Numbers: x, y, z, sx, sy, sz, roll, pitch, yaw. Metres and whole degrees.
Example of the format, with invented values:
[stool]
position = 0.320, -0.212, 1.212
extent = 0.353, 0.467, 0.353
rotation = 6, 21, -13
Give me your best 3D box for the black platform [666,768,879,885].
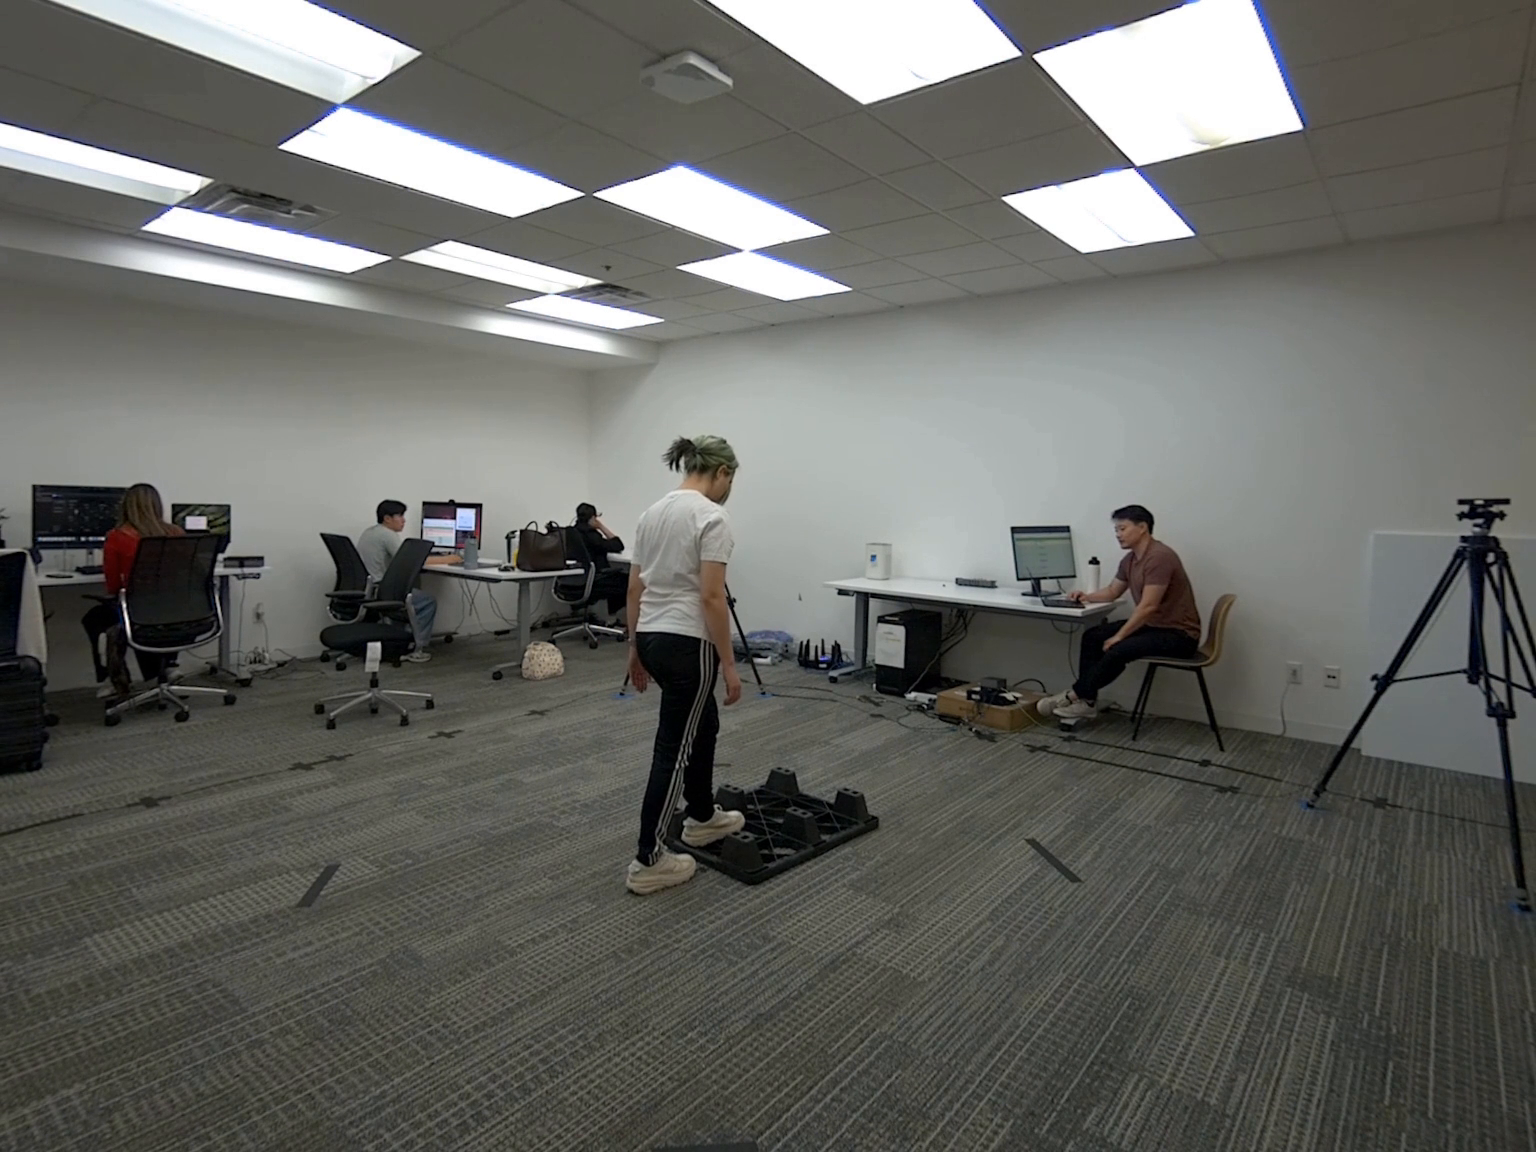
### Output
[black platform]
position = -0.024, 0.975, 3.456
extent = 0.626, 0.143, 0.782
rotation = 5, 7, 42
